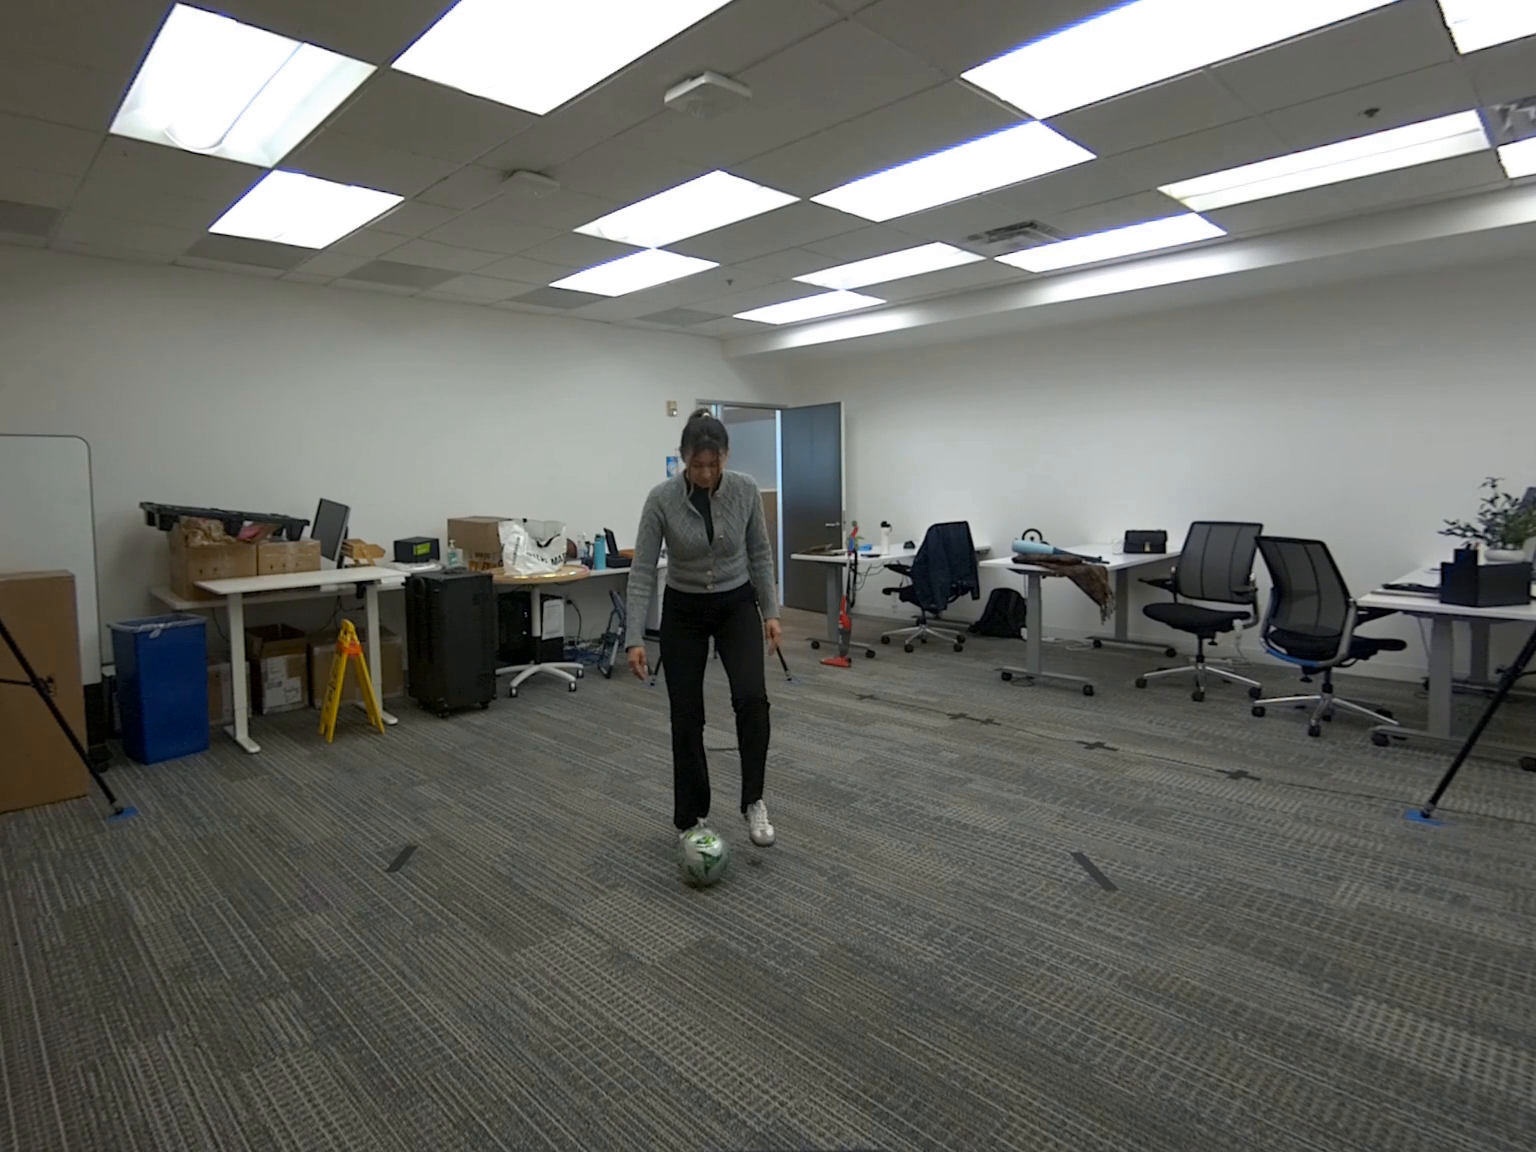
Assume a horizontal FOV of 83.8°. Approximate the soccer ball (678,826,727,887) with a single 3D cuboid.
[{"bbox_3d":[-0.220,0.974,2.960,0.187,0.187,0.188,-1,5,-2],"label":"soccer ball"}]
